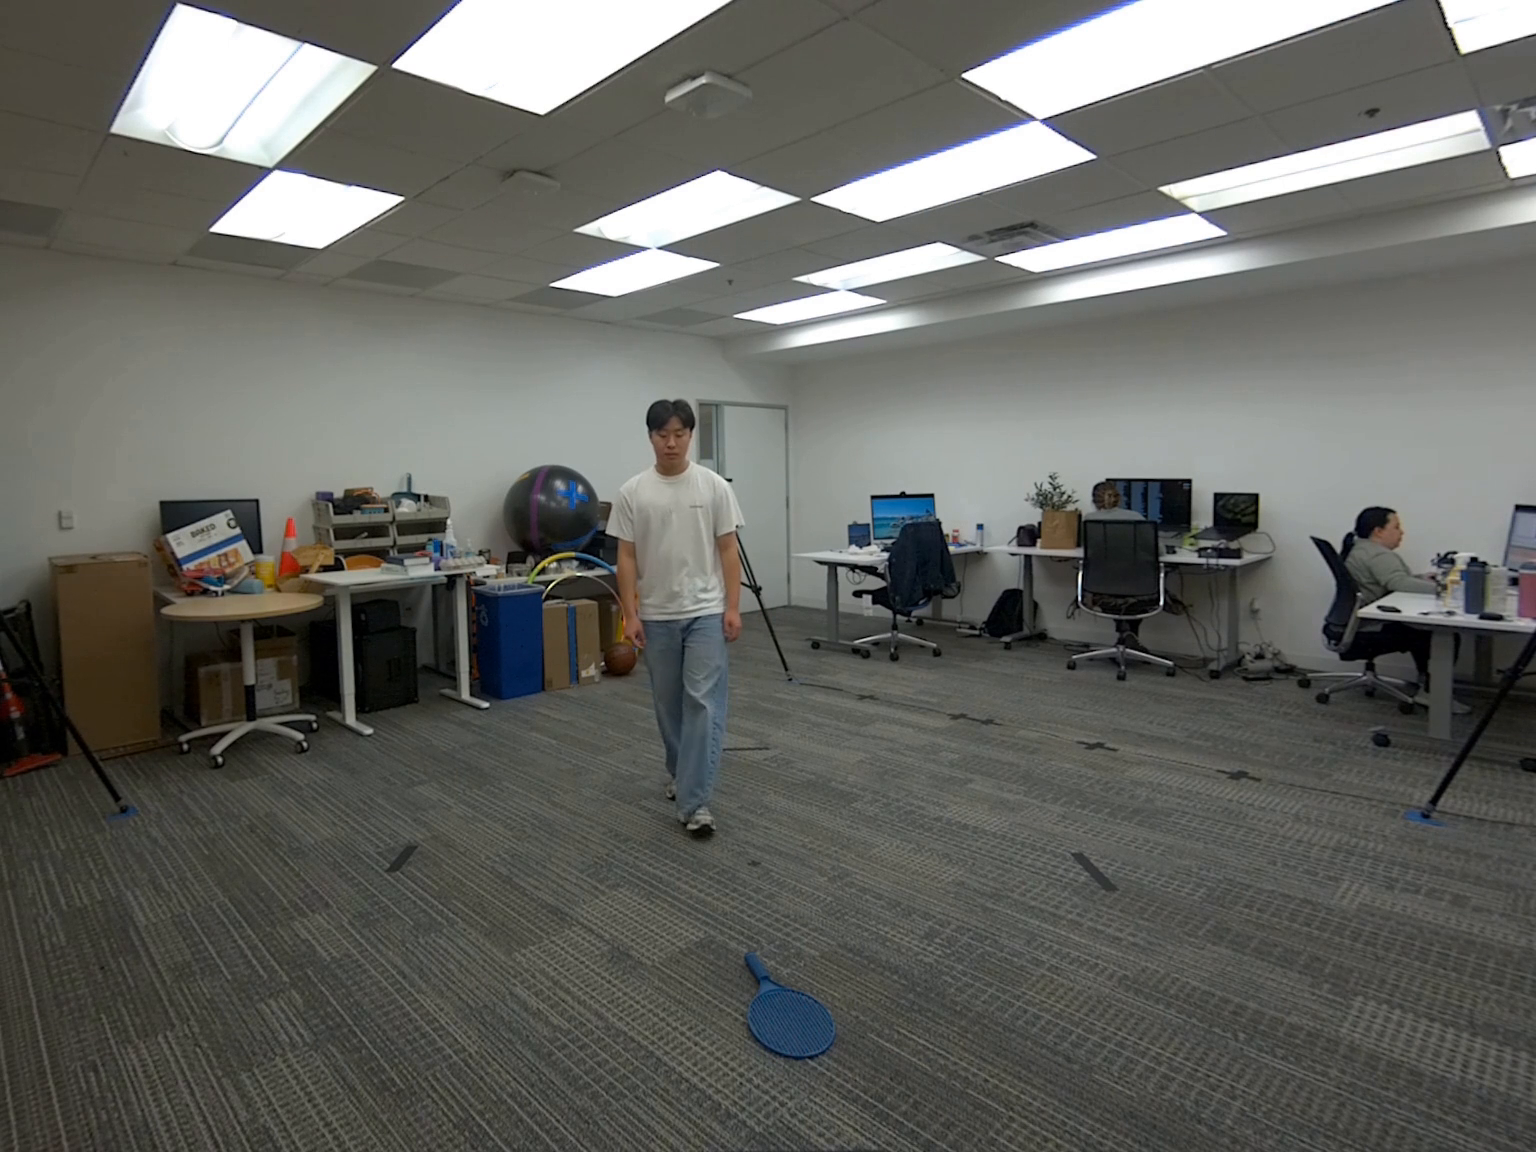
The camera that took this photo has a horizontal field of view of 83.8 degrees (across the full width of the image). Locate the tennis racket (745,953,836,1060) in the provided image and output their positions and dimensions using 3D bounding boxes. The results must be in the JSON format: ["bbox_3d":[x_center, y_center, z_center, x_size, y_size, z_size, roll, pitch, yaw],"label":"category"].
[{"bbox_3d":[0.036,1.128,2.264,0.210,0.031,0.442,-3,8,-19],"label":"tennis racket"}]
